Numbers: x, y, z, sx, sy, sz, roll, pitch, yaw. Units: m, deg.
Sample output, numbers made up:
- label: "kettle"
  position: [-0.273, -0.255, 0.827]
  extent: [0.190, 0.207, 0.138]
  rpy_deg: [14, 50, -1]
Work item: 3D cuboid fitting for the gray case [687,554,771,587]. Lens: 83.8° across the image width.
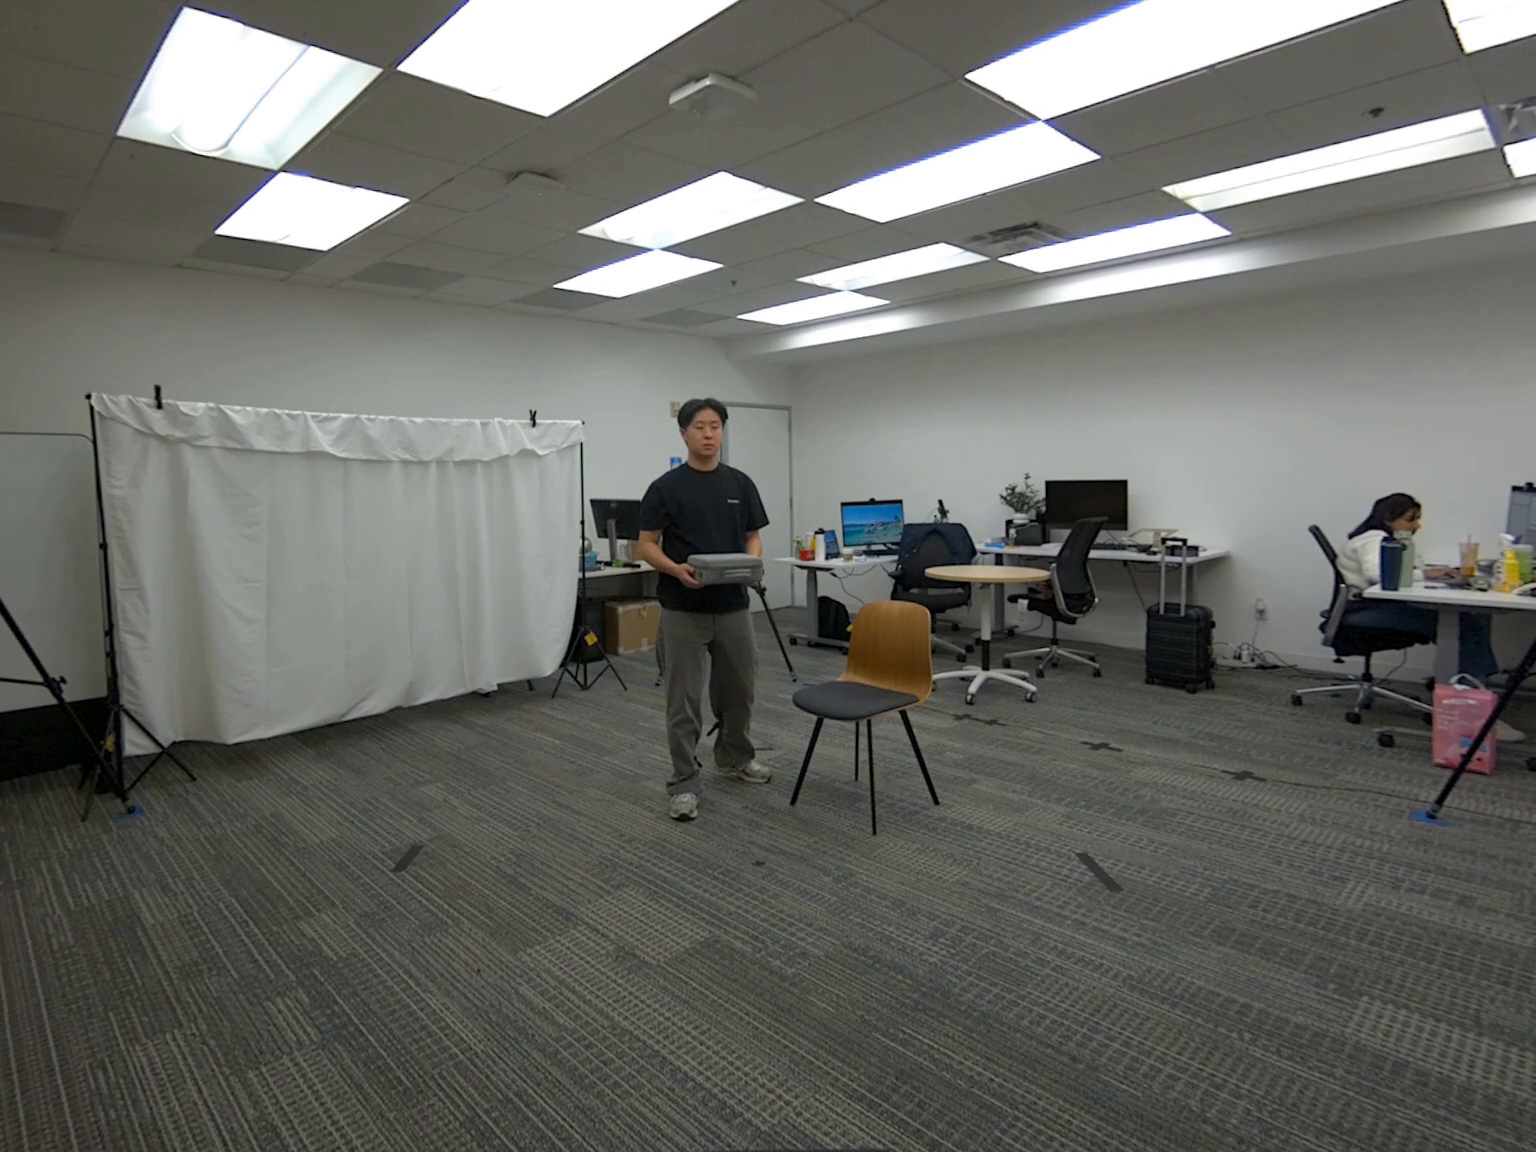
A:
- label: "gray case"
  position: [-0.186, -0.024, 3.412]
  extent: [0.256, 0.103, 0.296]
  rpy_deg: [-4, 6, -40]
